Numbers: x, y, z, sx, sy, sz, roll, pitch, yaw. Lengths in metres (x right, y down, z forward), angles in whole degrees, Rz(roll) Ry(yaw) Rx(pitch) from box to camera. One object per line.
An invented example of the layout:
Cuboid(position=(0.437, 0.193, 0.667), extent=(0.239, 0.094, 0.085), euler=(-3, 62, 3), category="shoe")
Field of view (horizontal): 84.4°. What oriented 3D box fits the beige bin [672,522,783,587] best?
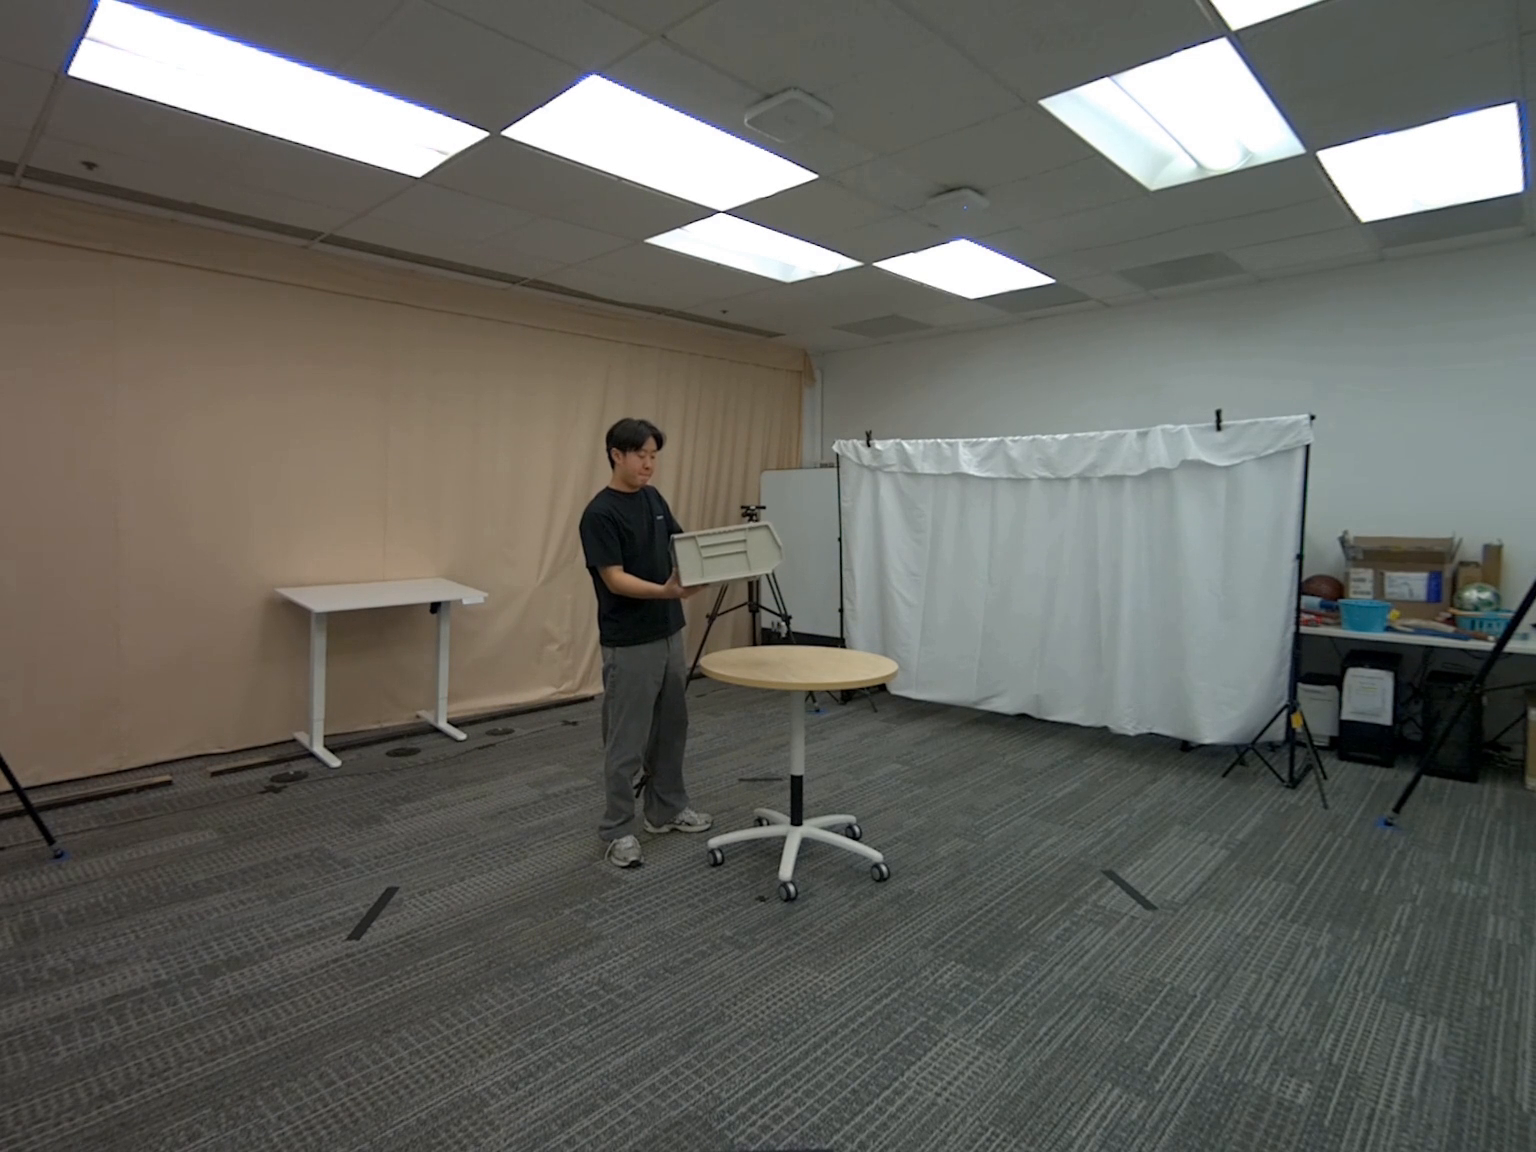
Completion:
Cuboid(position=(-0.160, -0.061, 3.095), extent=(0.376, 0.189, 0.423), euler=(-8, -2, -4), category="beige bin")
